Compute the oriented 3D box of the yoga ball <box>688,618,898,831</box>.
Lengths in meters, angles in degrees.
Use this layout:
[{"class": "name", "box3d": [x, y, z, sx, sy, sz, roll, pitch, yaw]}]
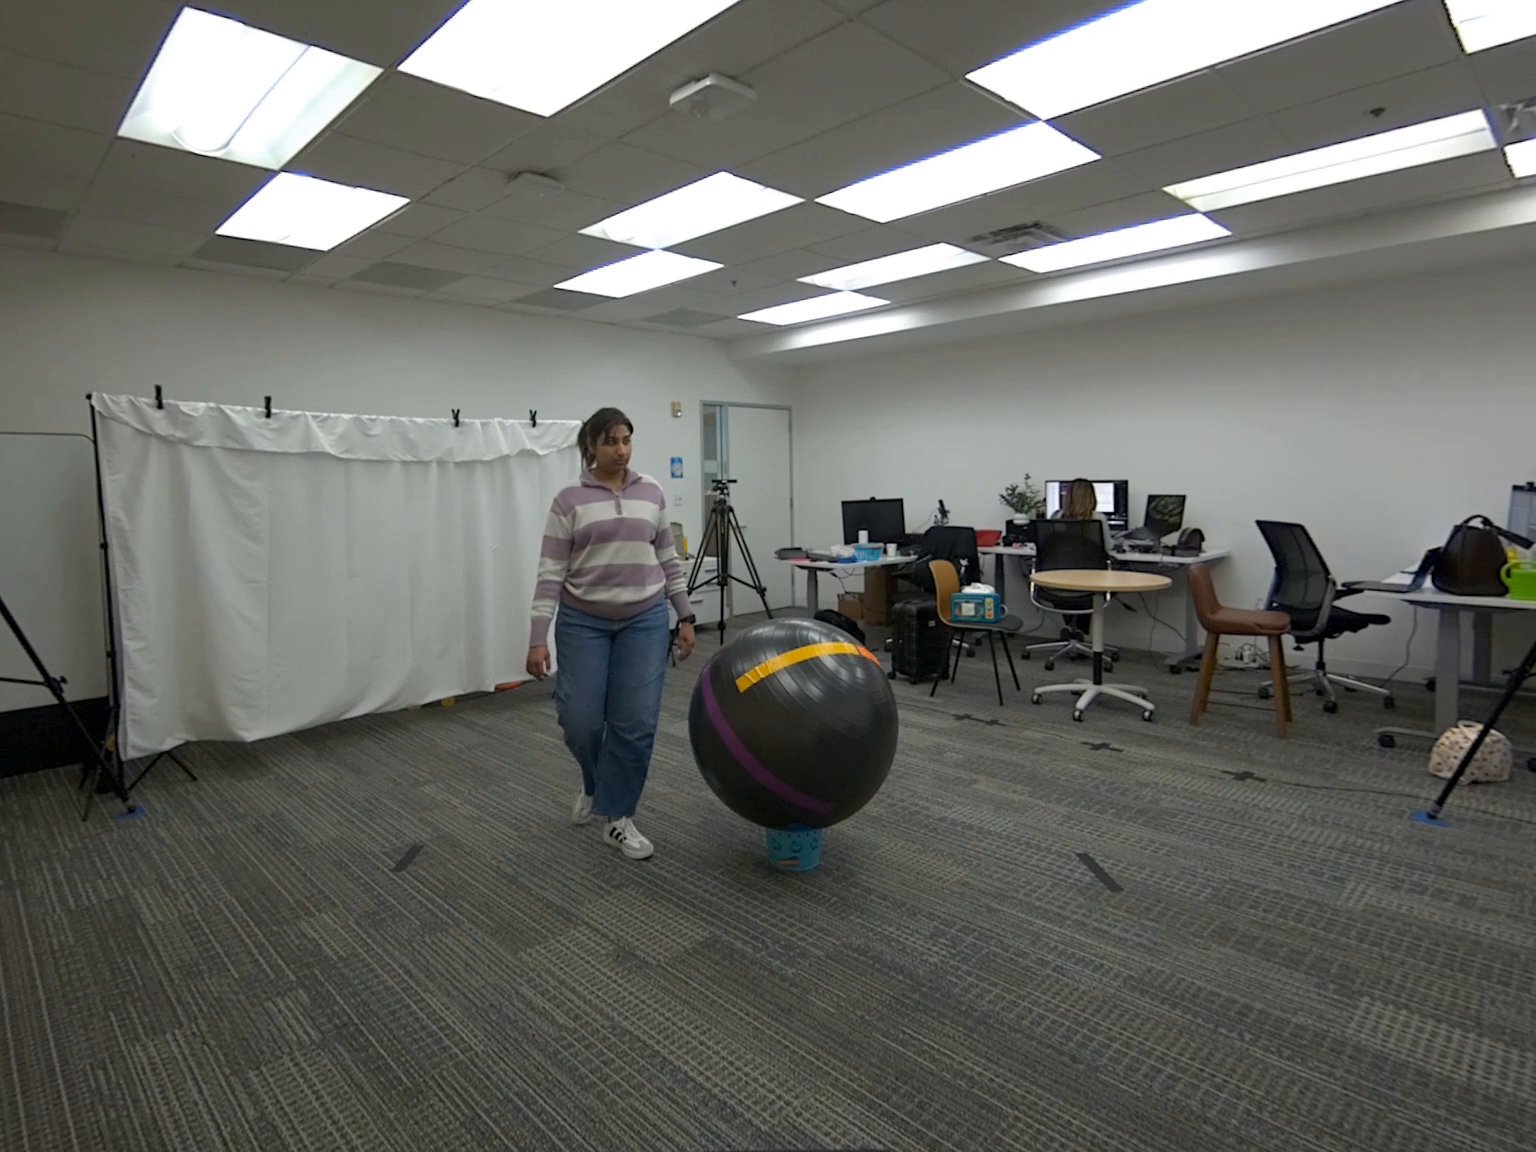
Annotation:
[{"class": "yoga ball", "box3d": [0.092, 0.531, 3.110, 0.757, 0.755, 0.762, -1, 5, -2]}]
